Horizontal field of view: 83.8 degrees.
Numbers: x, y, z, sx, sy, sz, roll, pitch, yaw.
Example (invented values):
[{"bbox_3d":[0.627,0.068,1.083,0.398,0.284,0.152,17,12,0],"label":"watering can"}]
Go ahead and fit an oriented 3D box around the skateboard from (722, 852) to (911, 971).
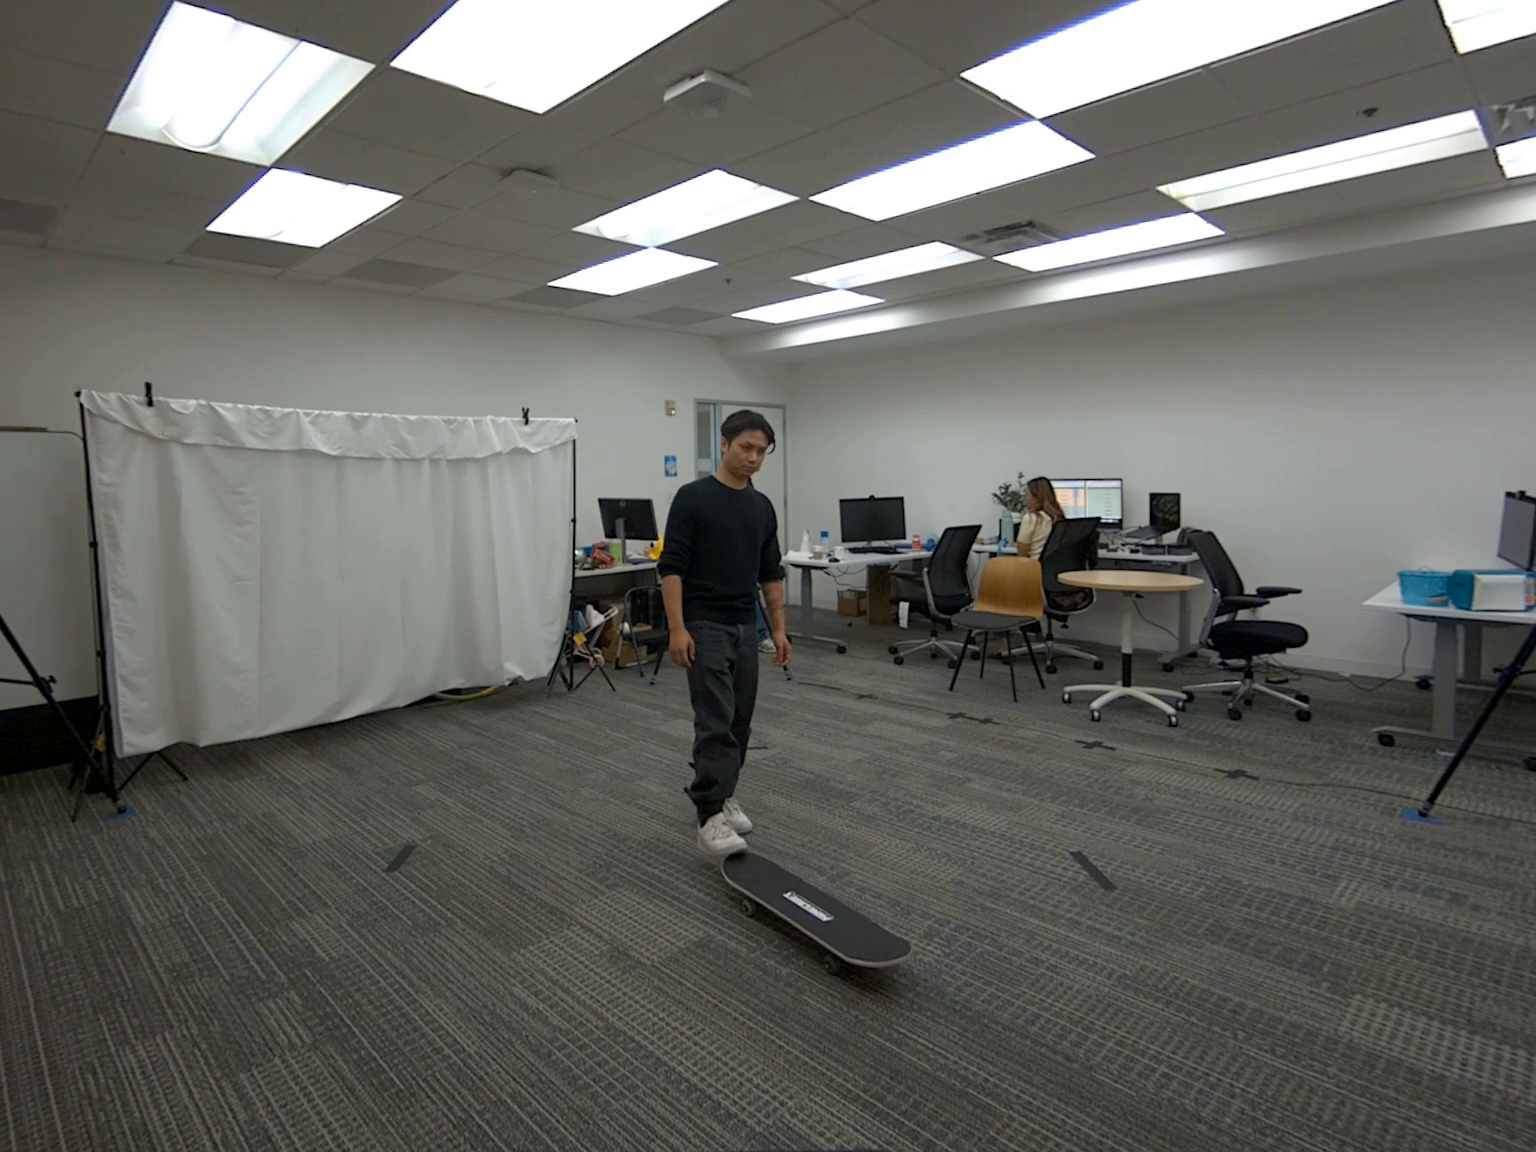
[{"bbox_3d":[0.128,1.044,2.610,0.189,0.110,0.809,-6,8,-35],"label":"skateboard"}]
